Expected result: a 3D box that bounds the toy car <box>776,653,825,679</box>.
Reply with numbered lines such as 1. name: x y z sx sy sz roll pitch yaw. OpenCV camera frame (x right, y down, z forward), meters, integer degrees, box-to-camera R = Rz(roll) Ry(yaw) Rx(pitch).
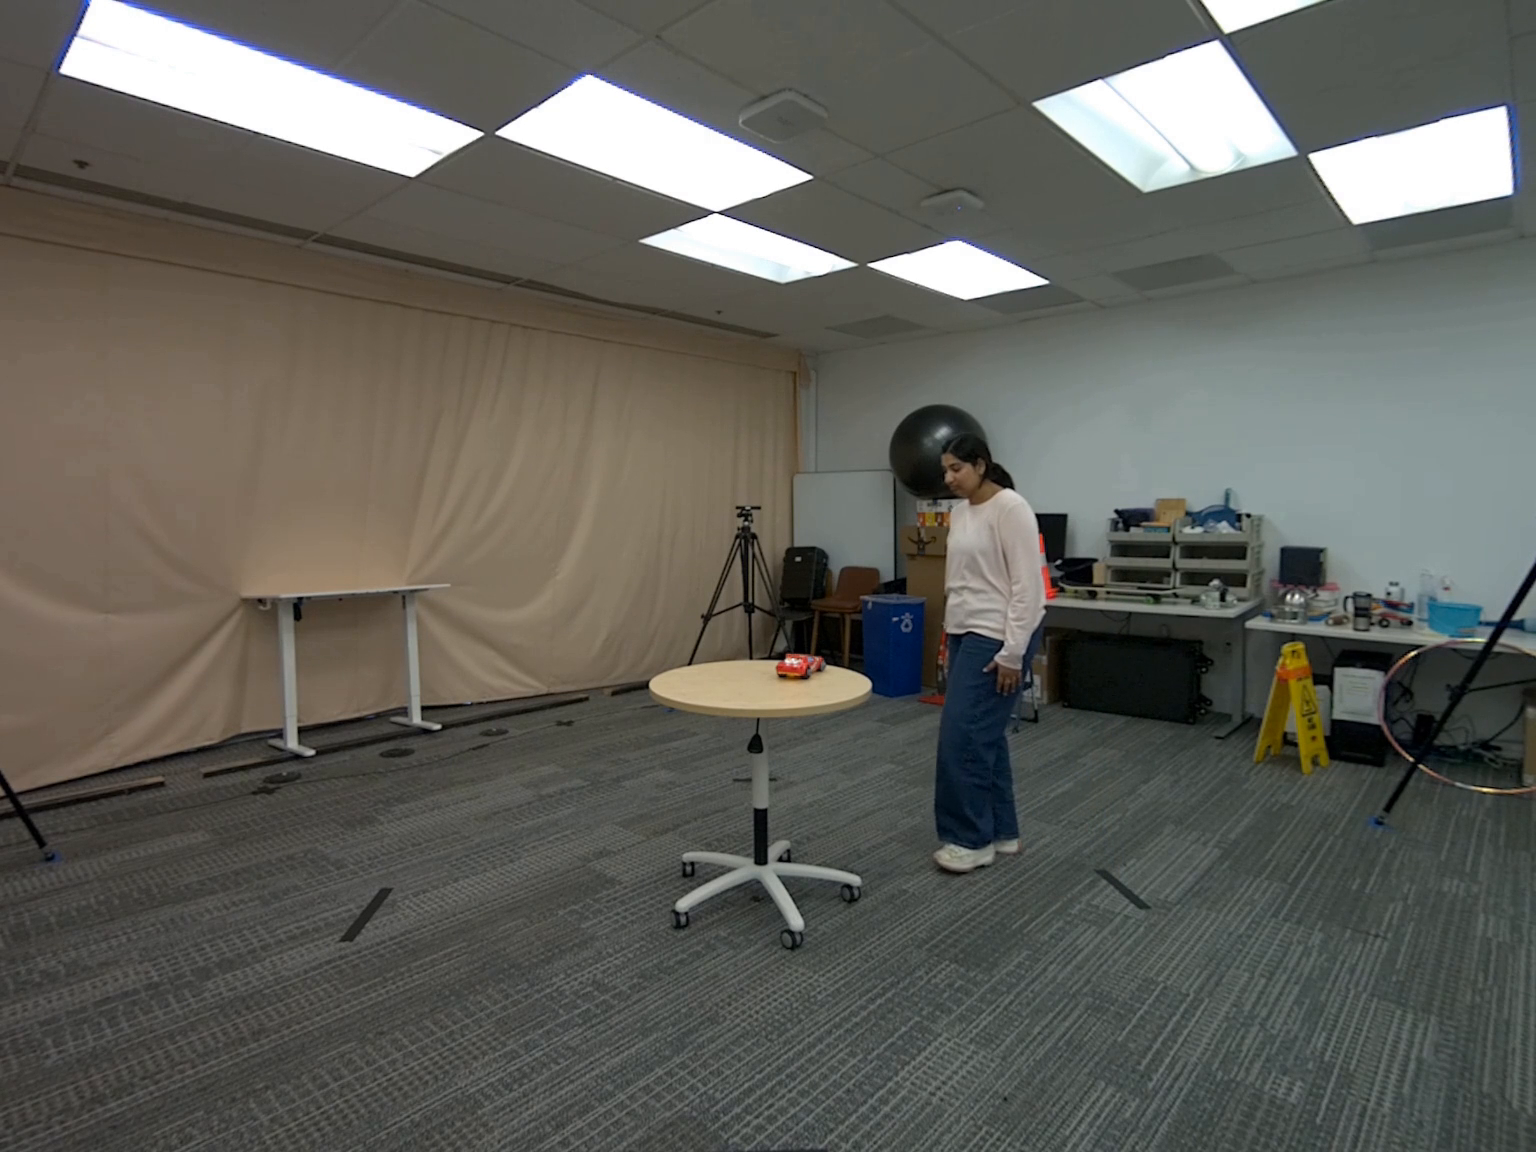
1. toy car: 0.109 0.328 3.008 0.133 0.083 0.247 0 -7 23
